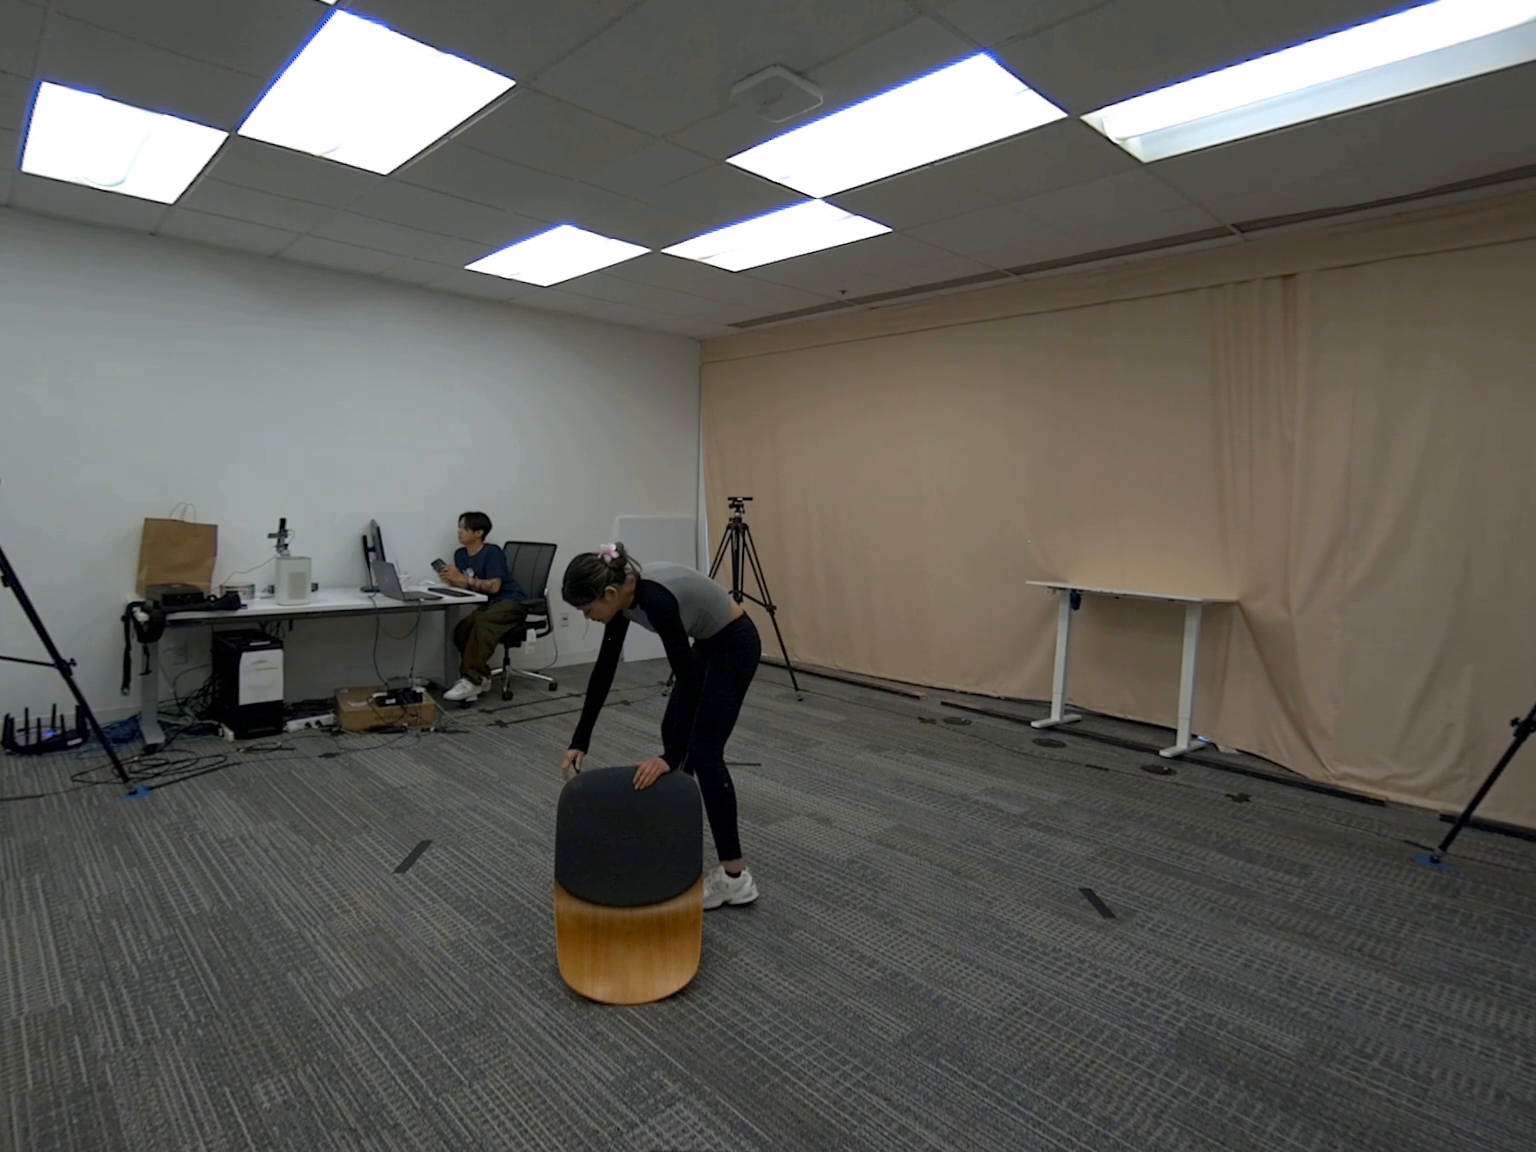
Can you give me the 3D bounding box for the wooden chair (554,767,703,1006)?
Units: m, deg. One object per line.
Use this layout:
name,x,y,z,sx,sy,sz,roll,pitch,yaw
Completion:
wooden chair,-0.453,0.877,2.713,0.475,0.521,0.886,1,6,-9
